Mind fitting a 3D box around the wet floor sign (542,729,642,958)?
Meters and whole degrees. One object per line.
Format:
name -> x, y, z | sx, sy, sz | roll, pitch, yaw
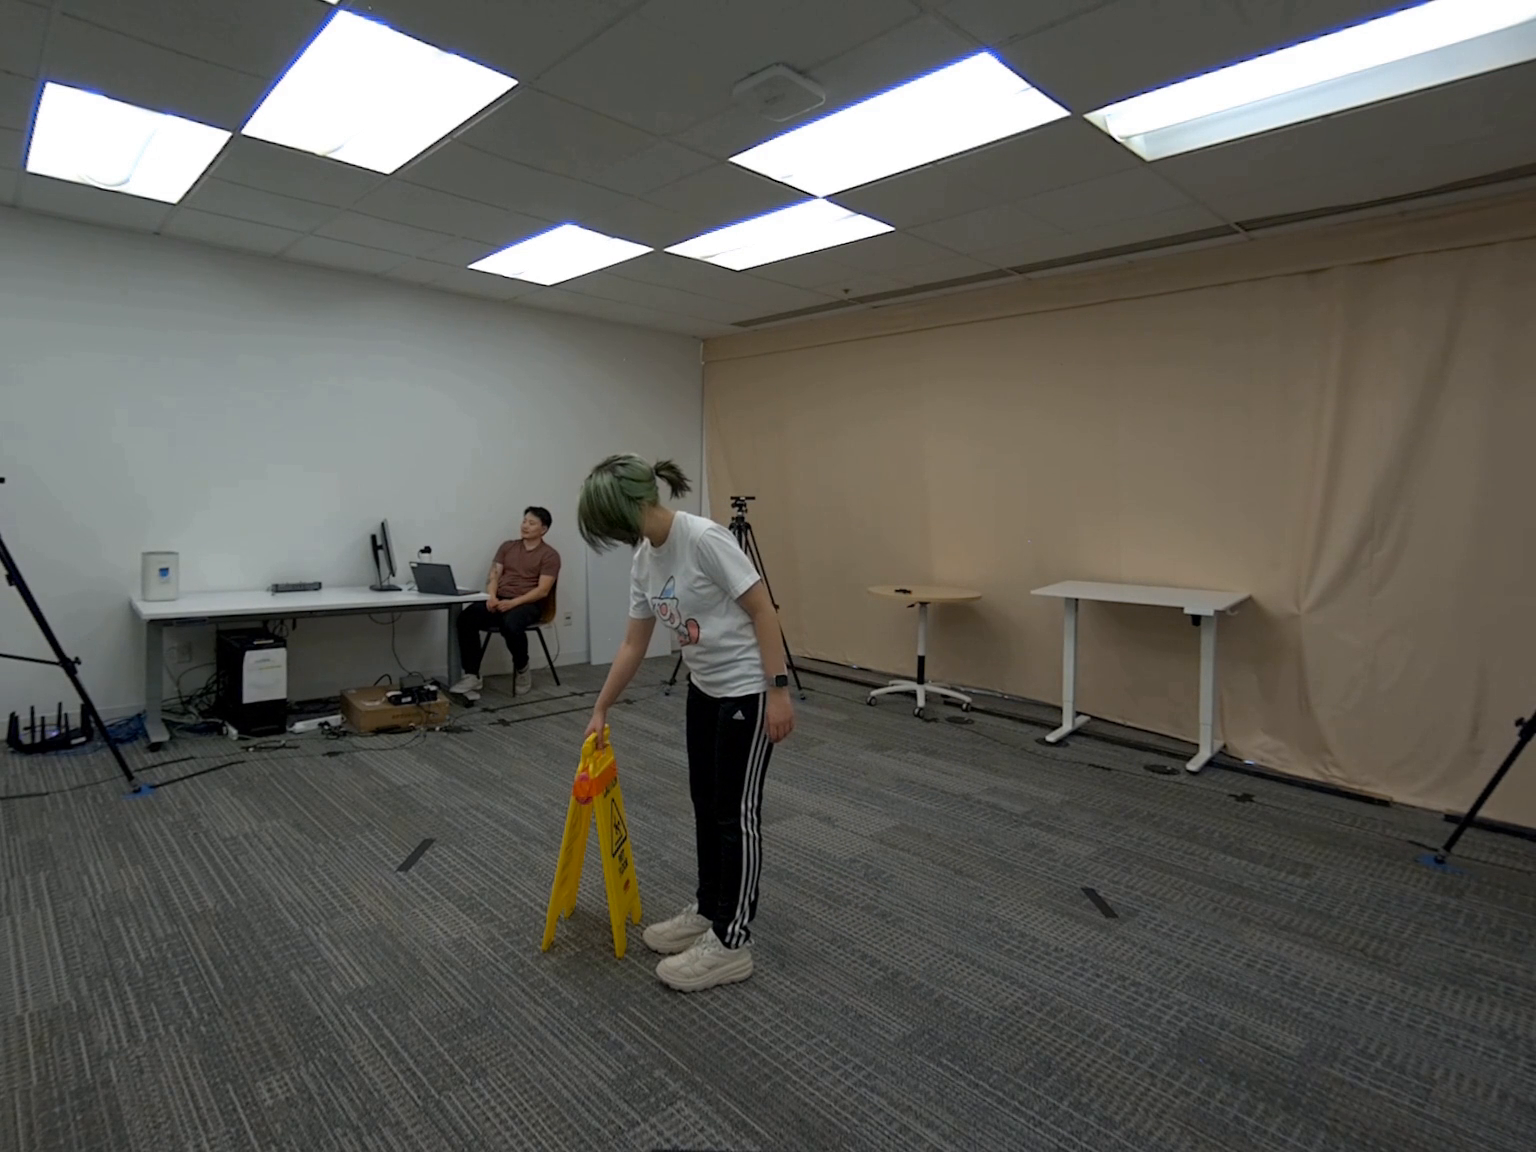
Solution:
wet floor sign -> -0.551, 0.817, 2.647 | 0.291, 0.644, 0.281 | 0, 4, 6
